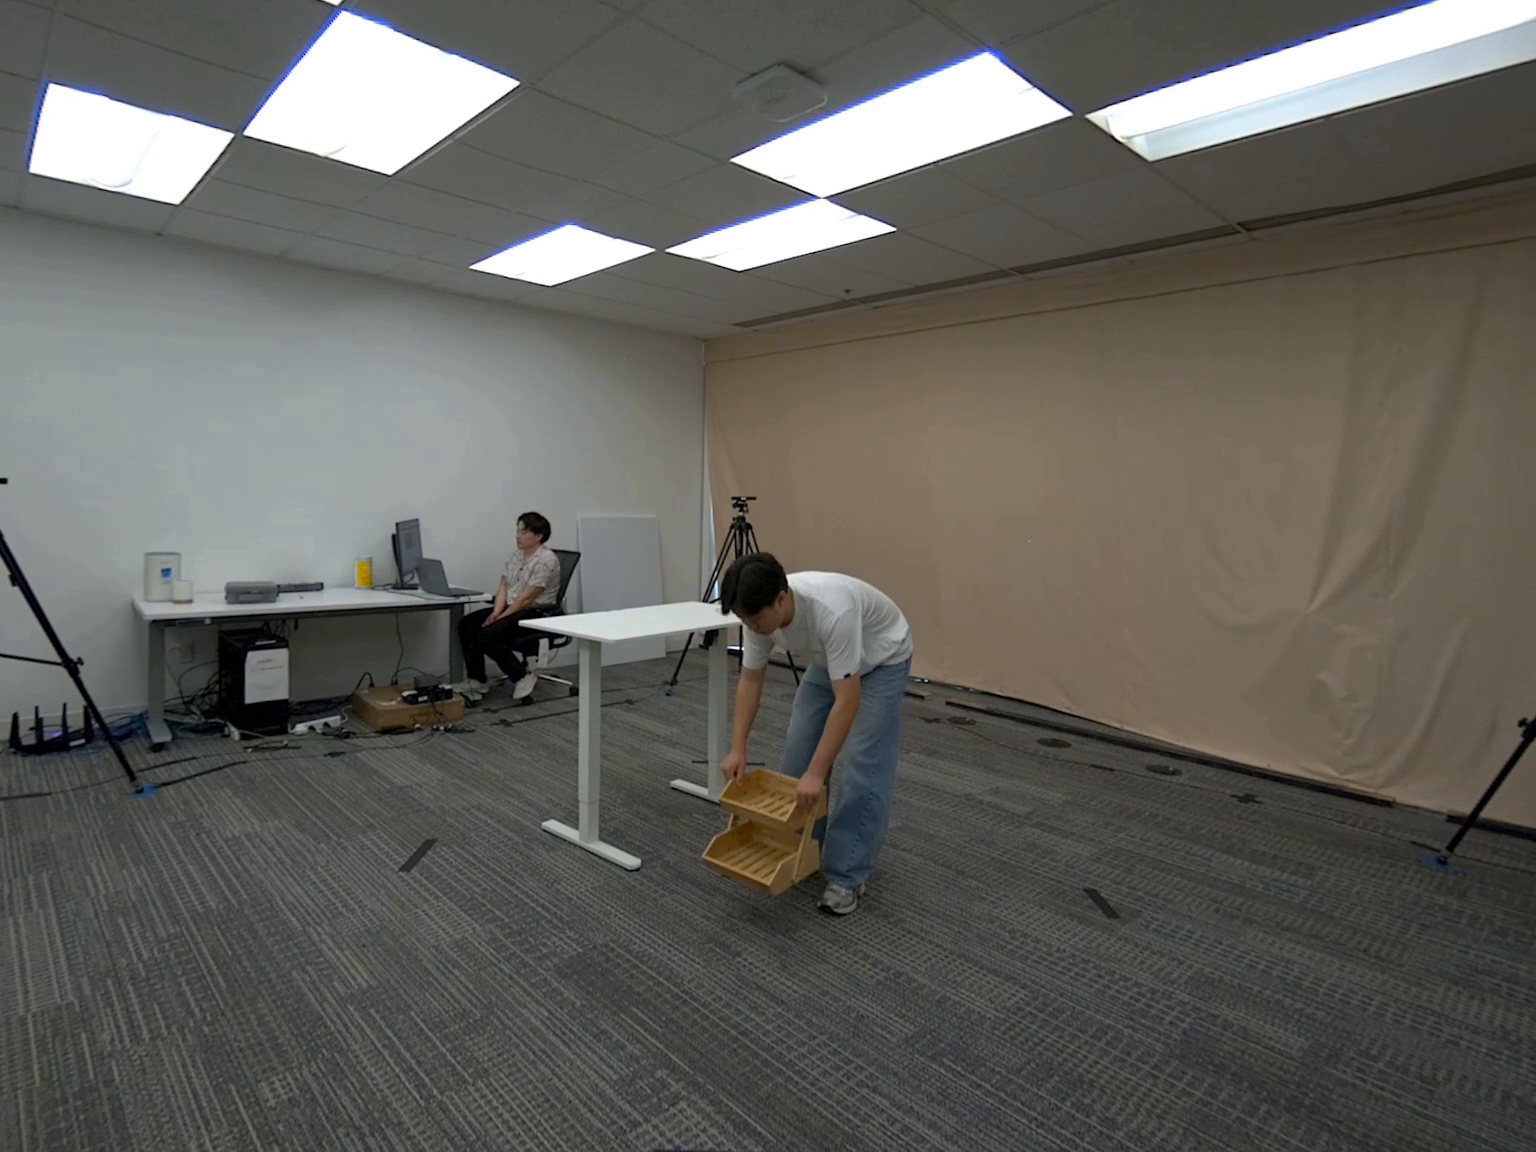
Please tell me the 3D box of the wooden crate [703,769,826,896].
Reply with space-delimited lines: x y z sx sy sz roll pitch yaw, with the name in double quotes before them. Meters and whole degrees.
"wooden crate" -0.024 0.823 2.789 0.332 0.272 0.296 4 9 42
